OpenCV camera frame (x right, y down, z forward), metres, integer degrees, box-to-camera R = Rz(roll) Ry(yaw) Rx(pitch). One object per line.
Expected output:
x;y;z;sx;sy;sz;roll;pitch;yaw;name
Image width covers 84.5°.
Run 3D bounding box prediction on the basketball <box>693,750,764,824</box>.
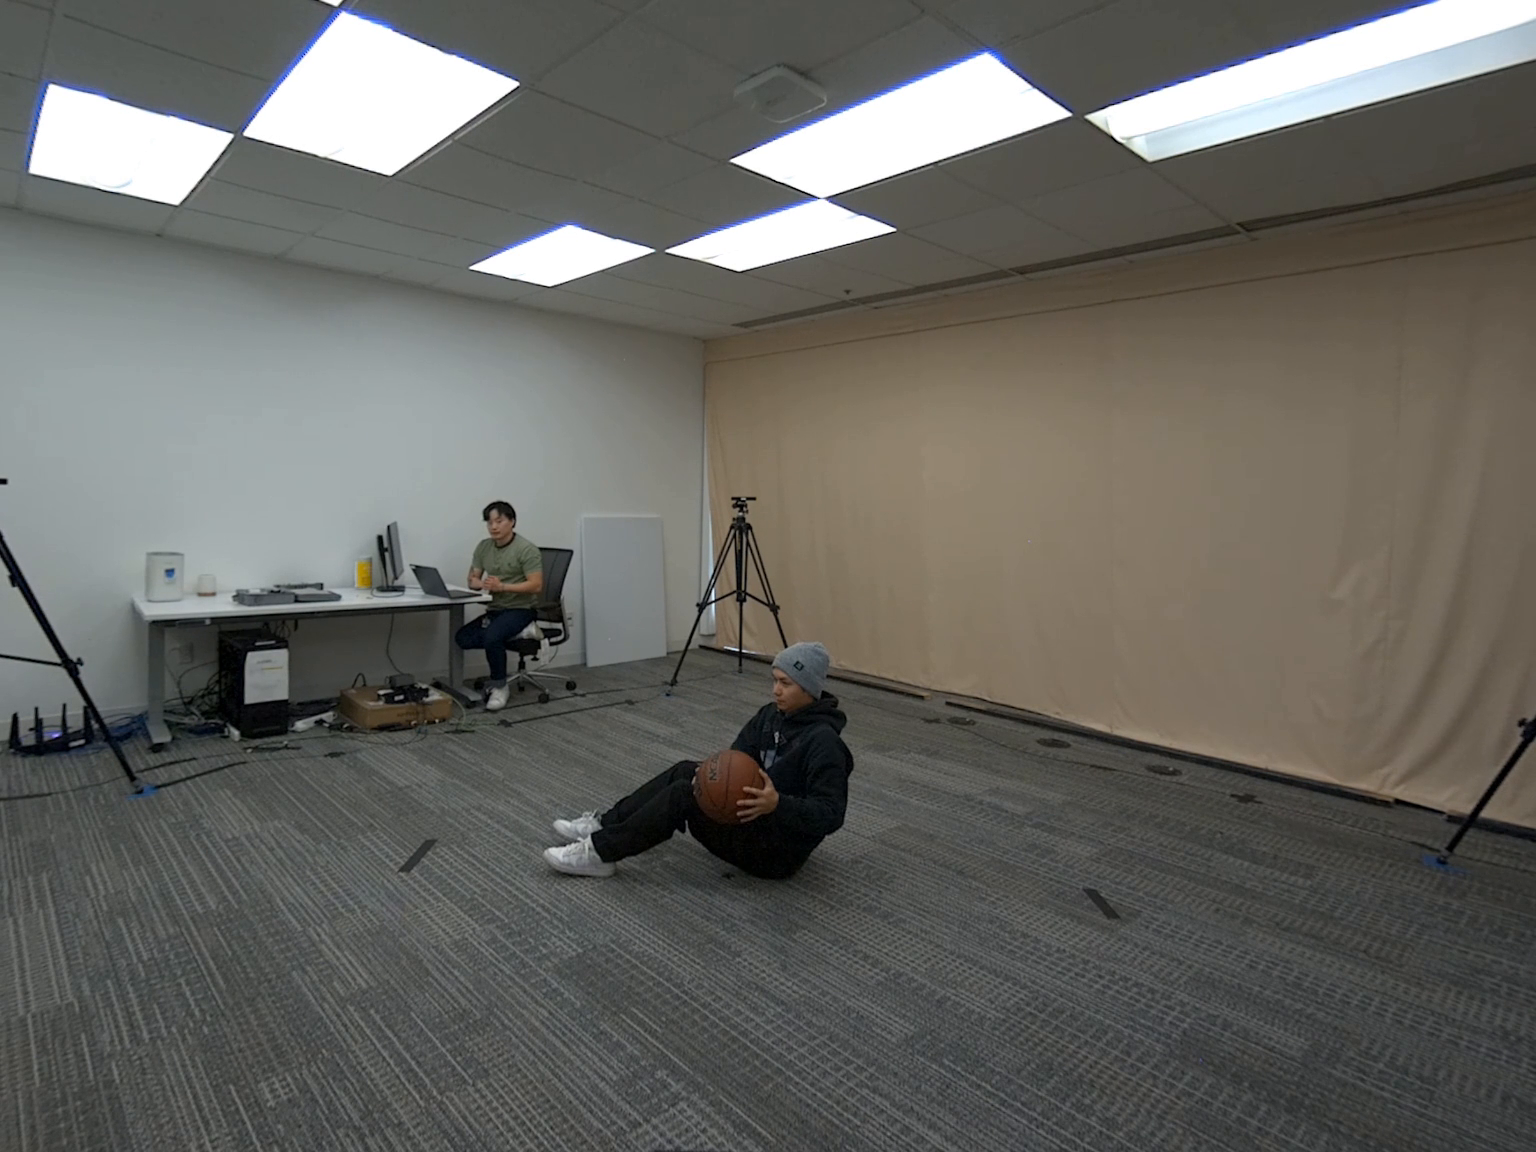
-0.137;0.703;2.833;0.236;0.235;0.237;1;4;-1;basketball
